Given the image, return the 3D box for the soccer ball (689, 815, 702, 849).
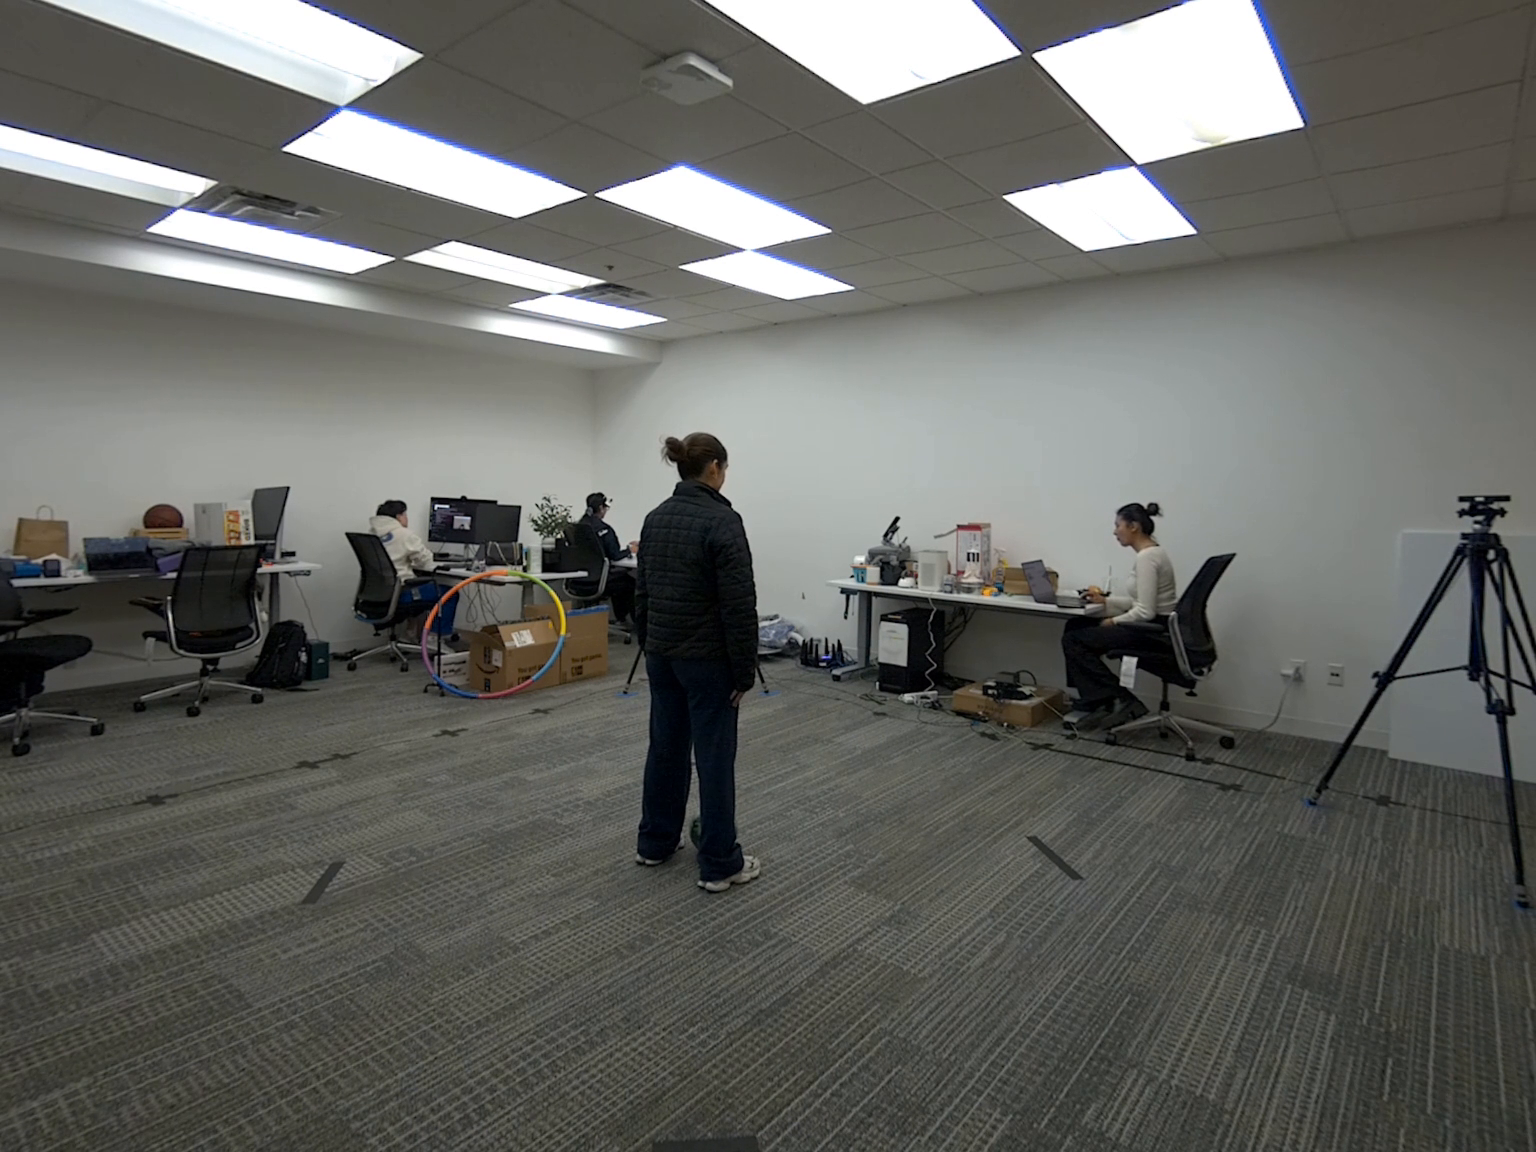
[{"bbox_3d":[-0.216,0.956,3.223,0.187,0.187,0.188,1,4,-2],"label":"soccer ball"}]
